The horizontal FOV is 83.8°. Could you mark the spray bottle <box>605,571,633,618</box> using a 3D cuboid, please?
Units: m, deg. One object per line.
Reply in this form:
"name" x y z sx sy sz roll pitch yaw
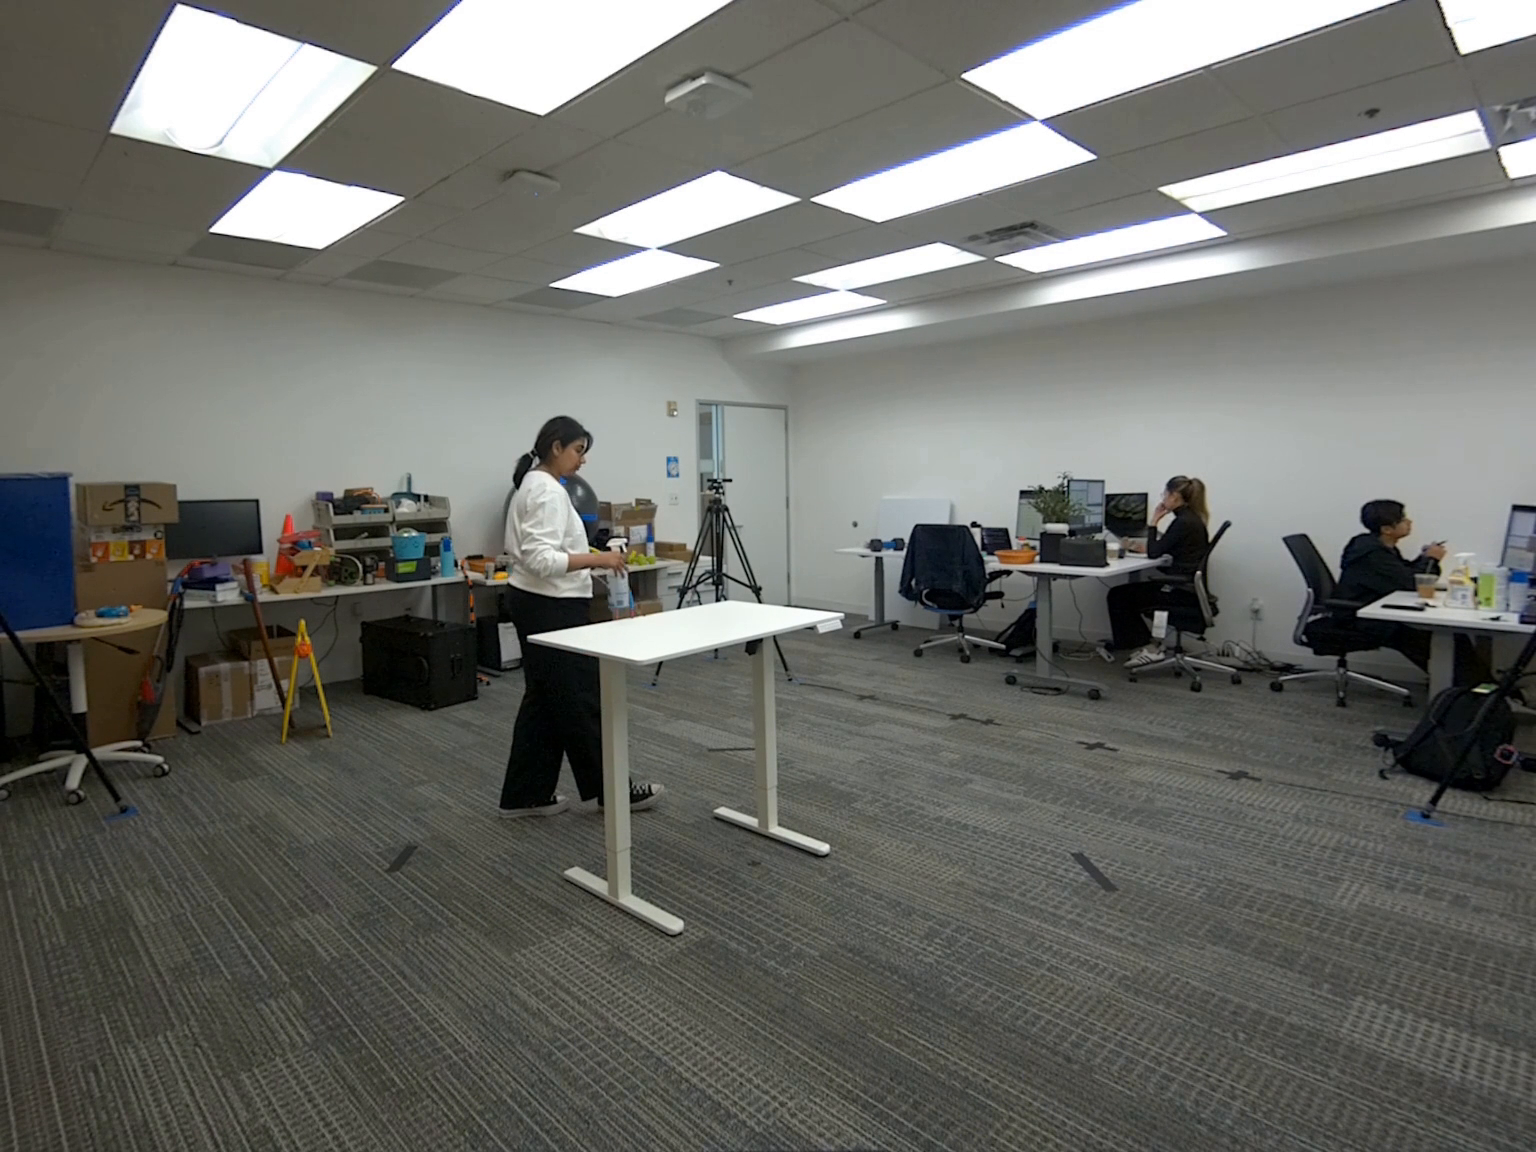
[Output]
"spray bottle" -0.623 -0.007 3.528 0.085 0.294 0.093 -12 14 -43
